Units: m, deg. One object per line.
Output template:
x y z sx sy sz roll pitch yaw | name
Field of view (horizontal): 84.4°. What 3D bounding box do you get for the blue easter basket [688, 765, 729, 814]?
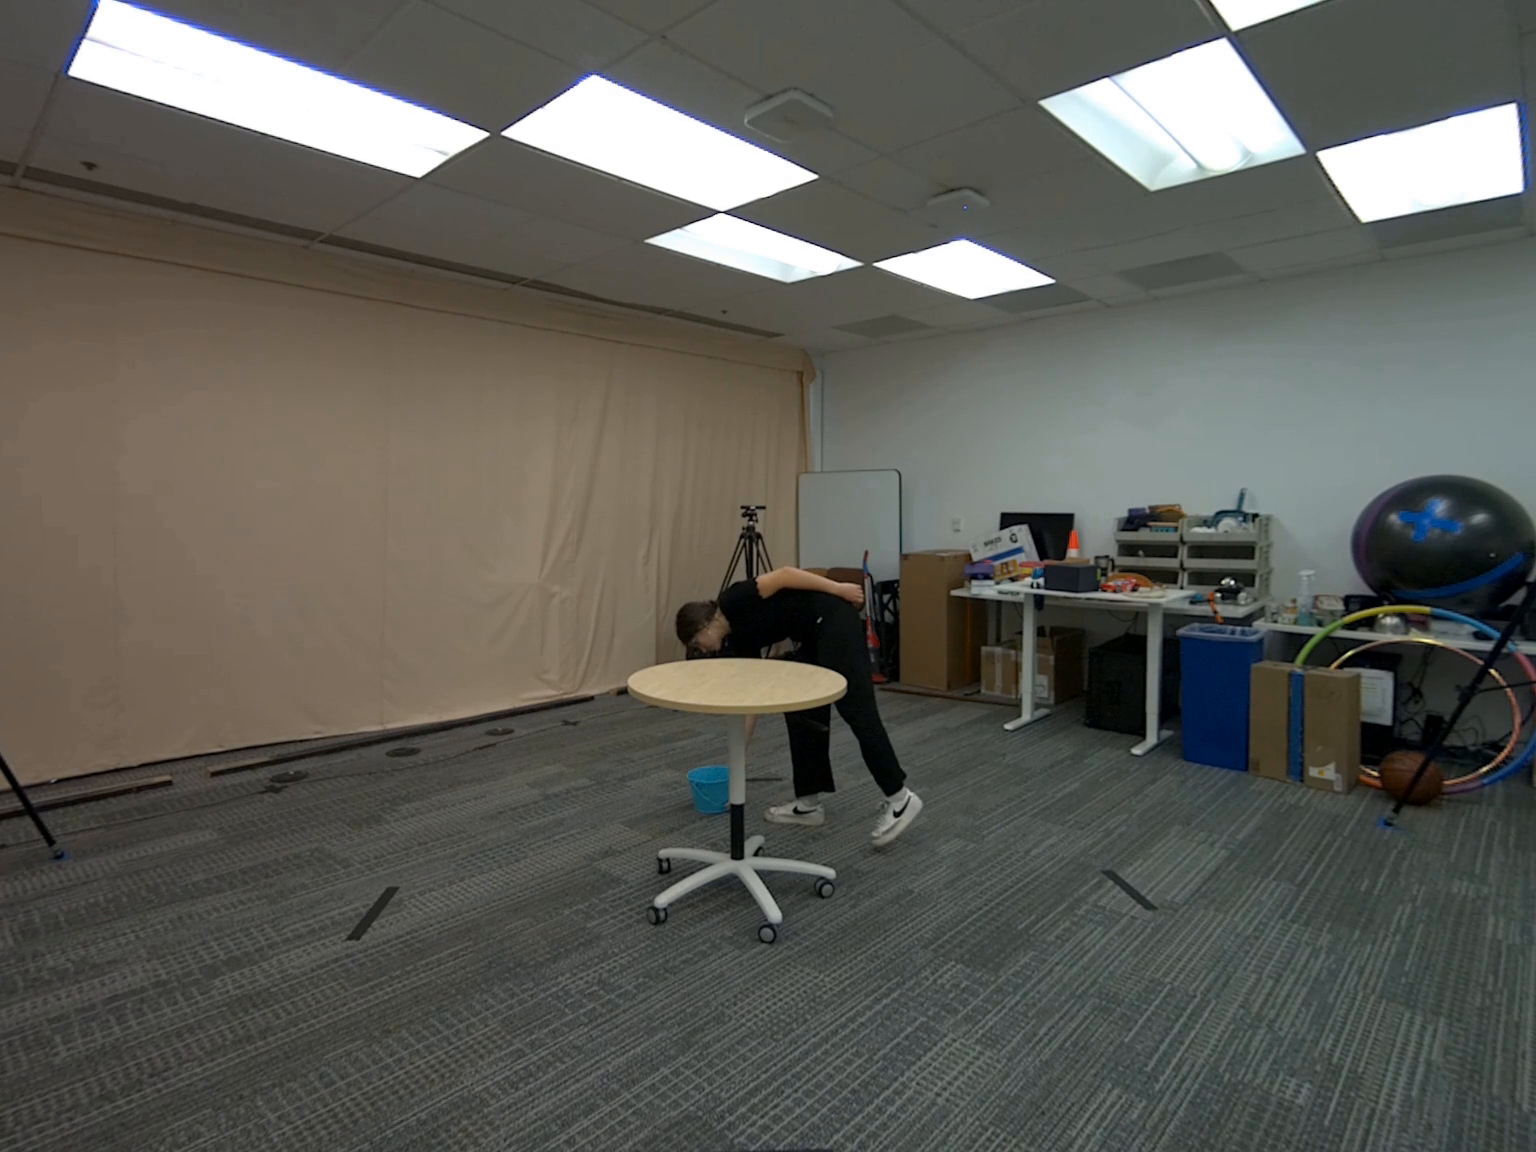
-0.261 0.993 3.901 0.243 0.155 0.244 -3 5 -2 | blue easter basket
